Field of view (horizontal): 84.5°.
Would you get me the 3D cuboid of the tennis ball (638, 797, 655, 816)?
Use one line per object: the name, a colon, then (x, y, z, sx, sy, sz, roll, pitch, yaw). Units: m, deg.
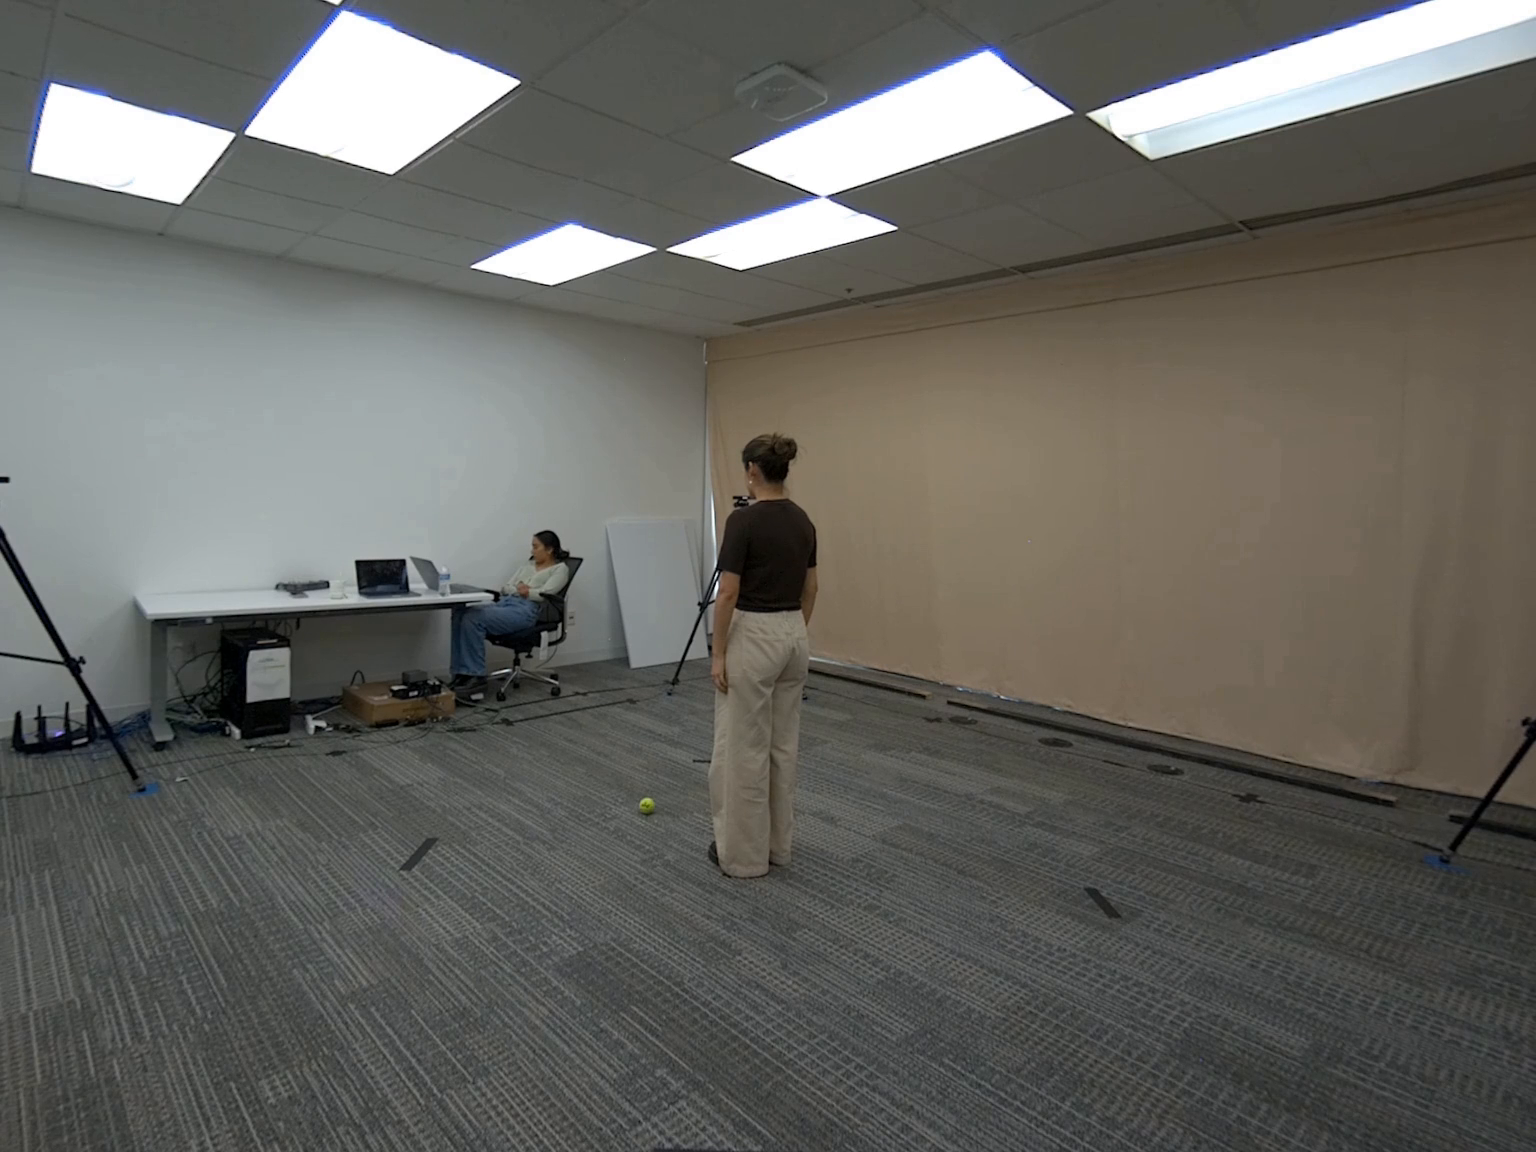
tennis ball: (-0.538, 0.990, 3.688, 0.066, 0.066, 0.067, 1, 4, -1)
